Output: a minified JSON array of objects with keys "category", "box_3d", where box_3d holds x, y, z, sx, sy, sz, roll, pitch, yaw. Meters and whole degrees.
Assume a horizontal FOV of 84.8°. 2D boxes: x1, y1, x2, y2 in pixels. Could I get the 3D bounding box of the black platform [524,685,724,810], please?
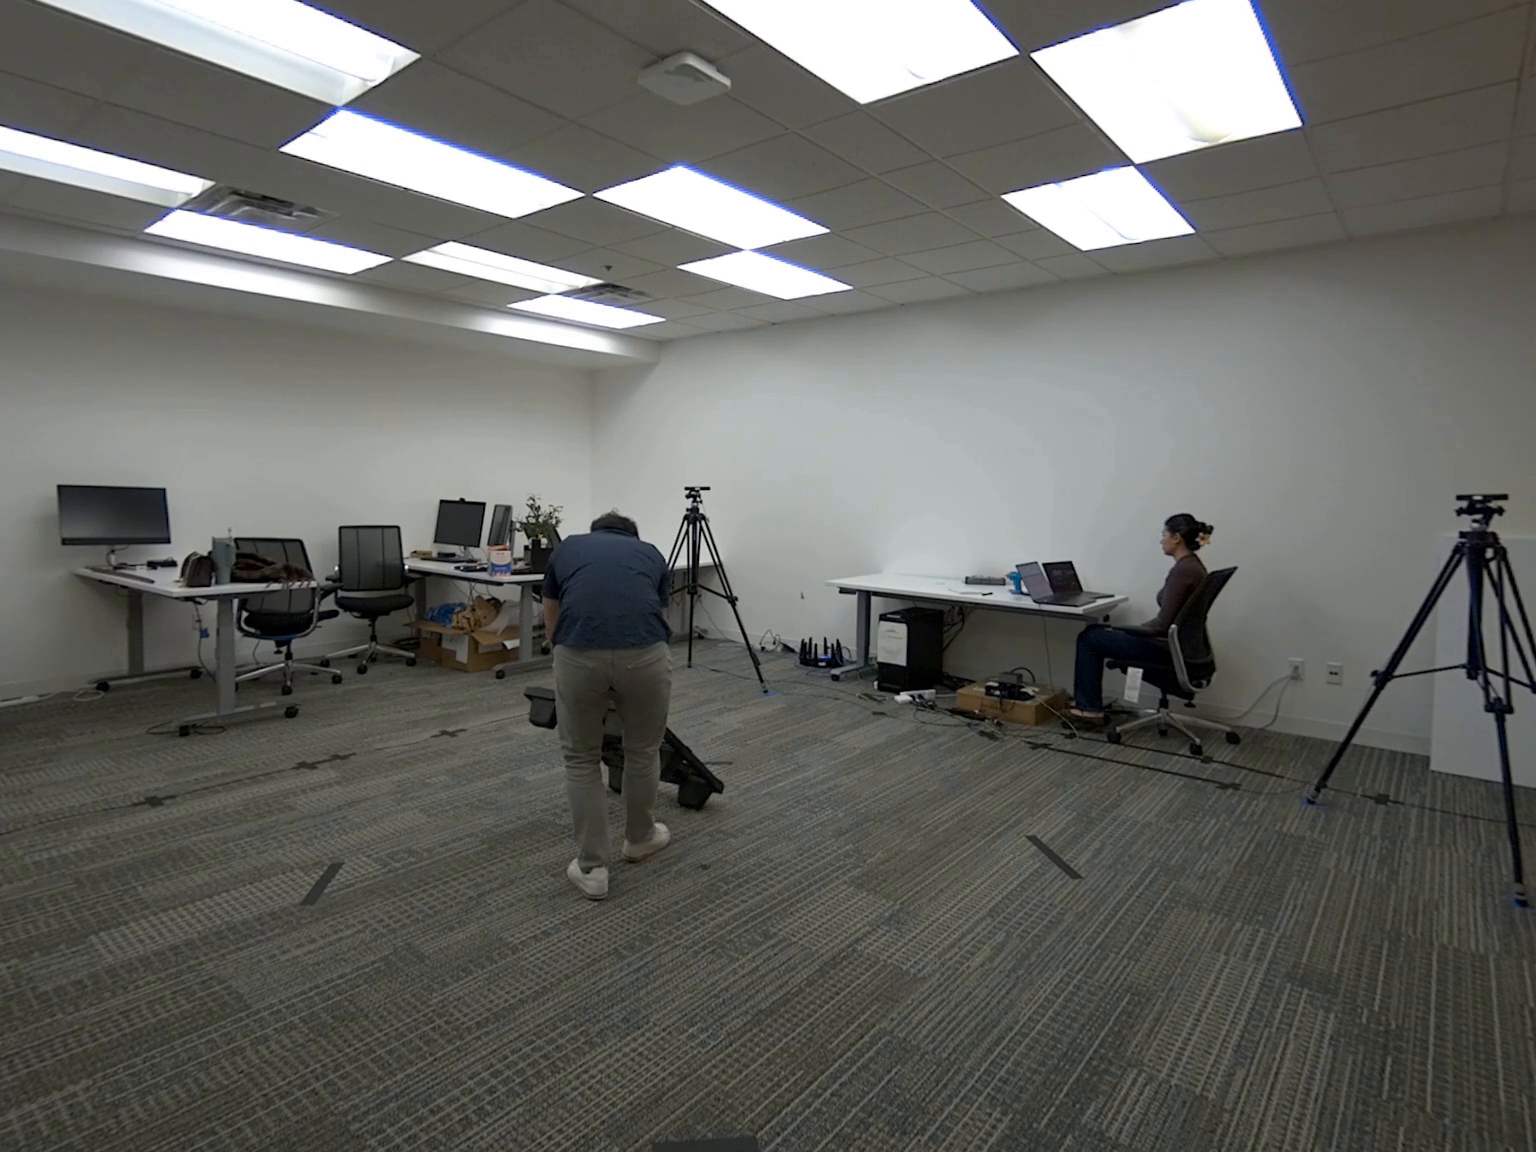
[{"category":"black platform","box_3d":[-0.626,0.735,3.555,0.622,0.145,0.773,2,-35,28]}]
